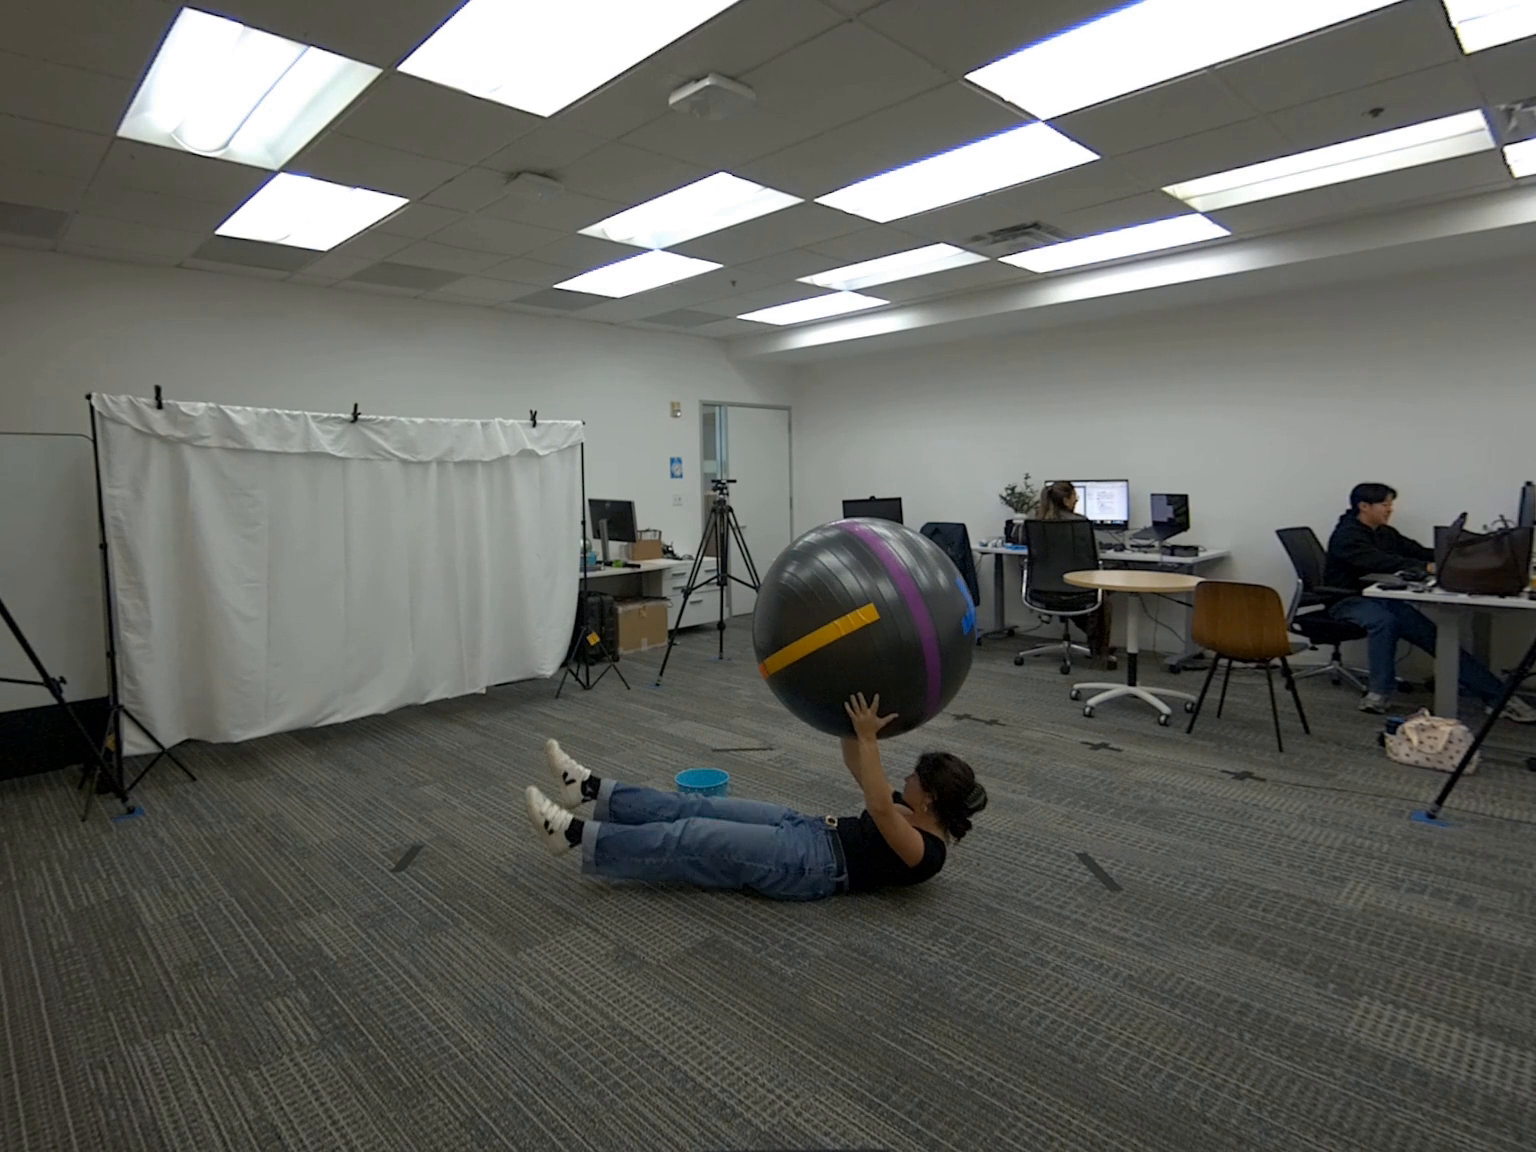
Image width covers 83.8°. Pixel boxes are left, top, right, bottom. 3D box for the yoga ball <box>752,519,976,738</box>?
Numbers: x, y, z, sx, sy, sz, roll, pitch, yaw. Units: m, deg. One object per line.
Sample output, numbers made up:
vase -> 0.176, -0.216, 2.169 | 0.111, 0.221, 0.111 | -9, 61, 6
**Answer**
yoga ball -> 0.325, 0.182, 2.939 | 0.757, 0.755, 0.762 | -1, 5, -2
